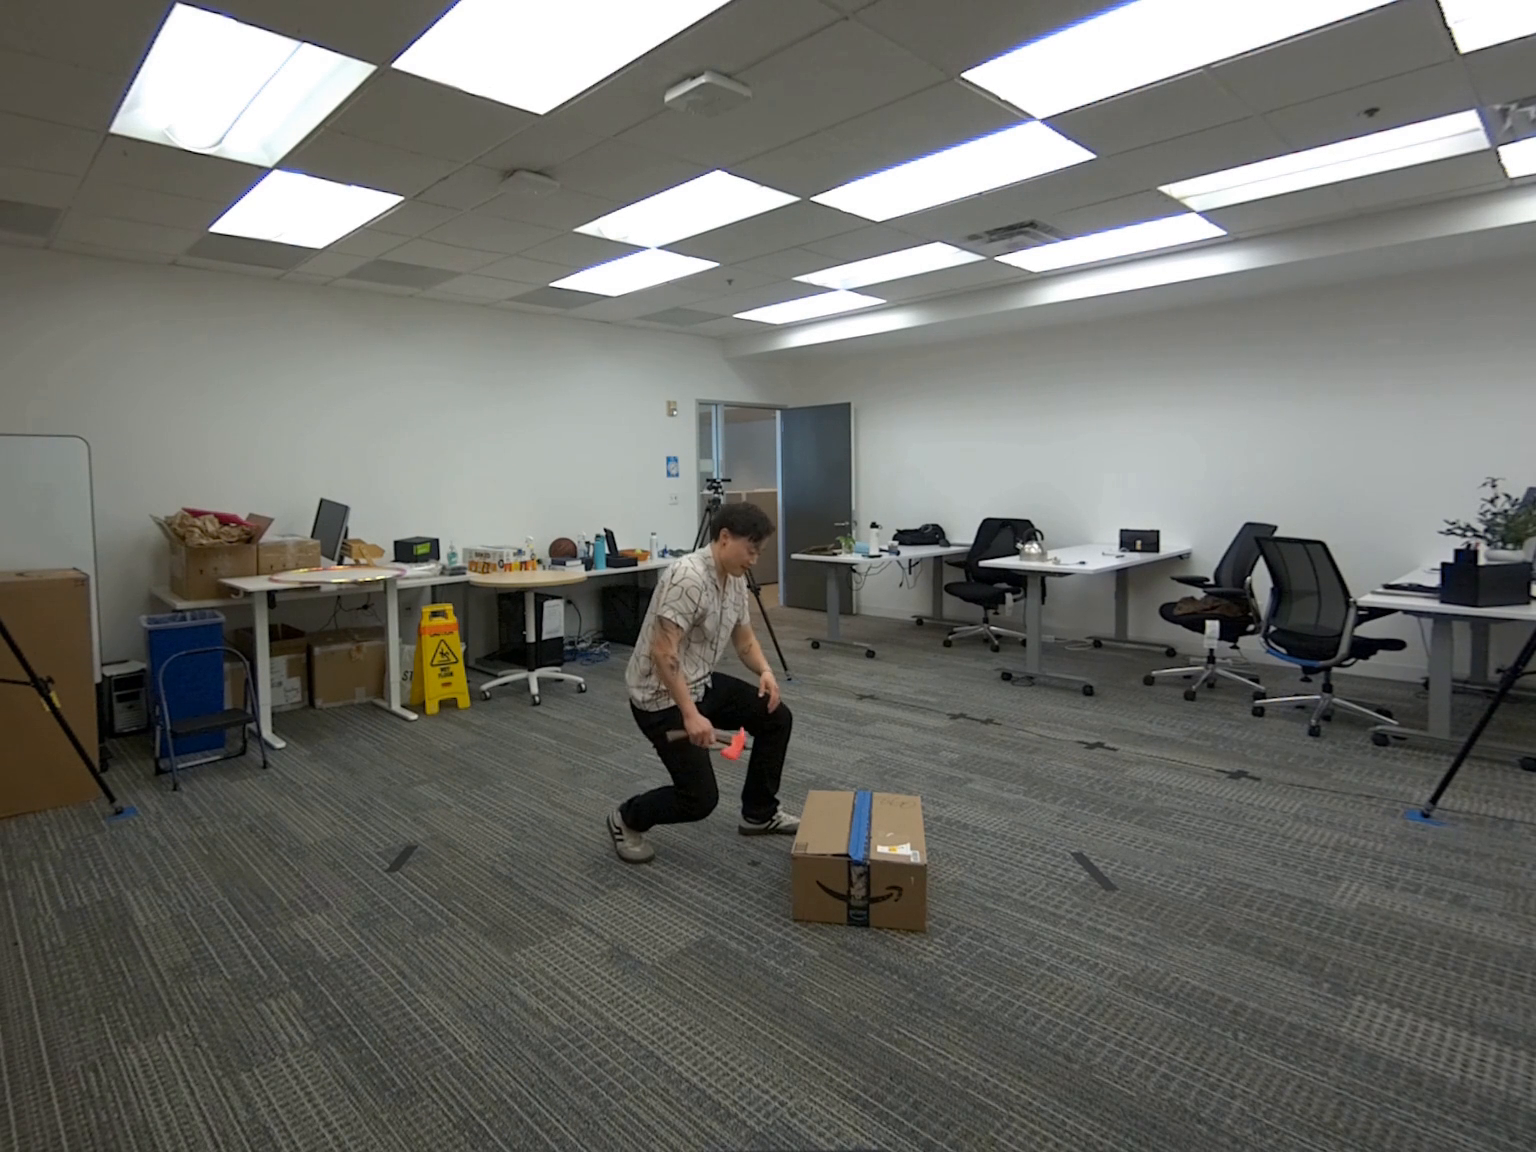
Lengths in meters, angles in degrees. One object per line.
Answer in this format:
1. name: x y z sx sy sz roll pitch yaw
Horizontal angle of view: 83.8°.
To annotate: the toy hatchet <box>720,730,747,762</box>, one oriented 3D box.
1. toy hatchet: -0.213 0.567 2.878 0.269 0.029 0.135 0 46 -5
